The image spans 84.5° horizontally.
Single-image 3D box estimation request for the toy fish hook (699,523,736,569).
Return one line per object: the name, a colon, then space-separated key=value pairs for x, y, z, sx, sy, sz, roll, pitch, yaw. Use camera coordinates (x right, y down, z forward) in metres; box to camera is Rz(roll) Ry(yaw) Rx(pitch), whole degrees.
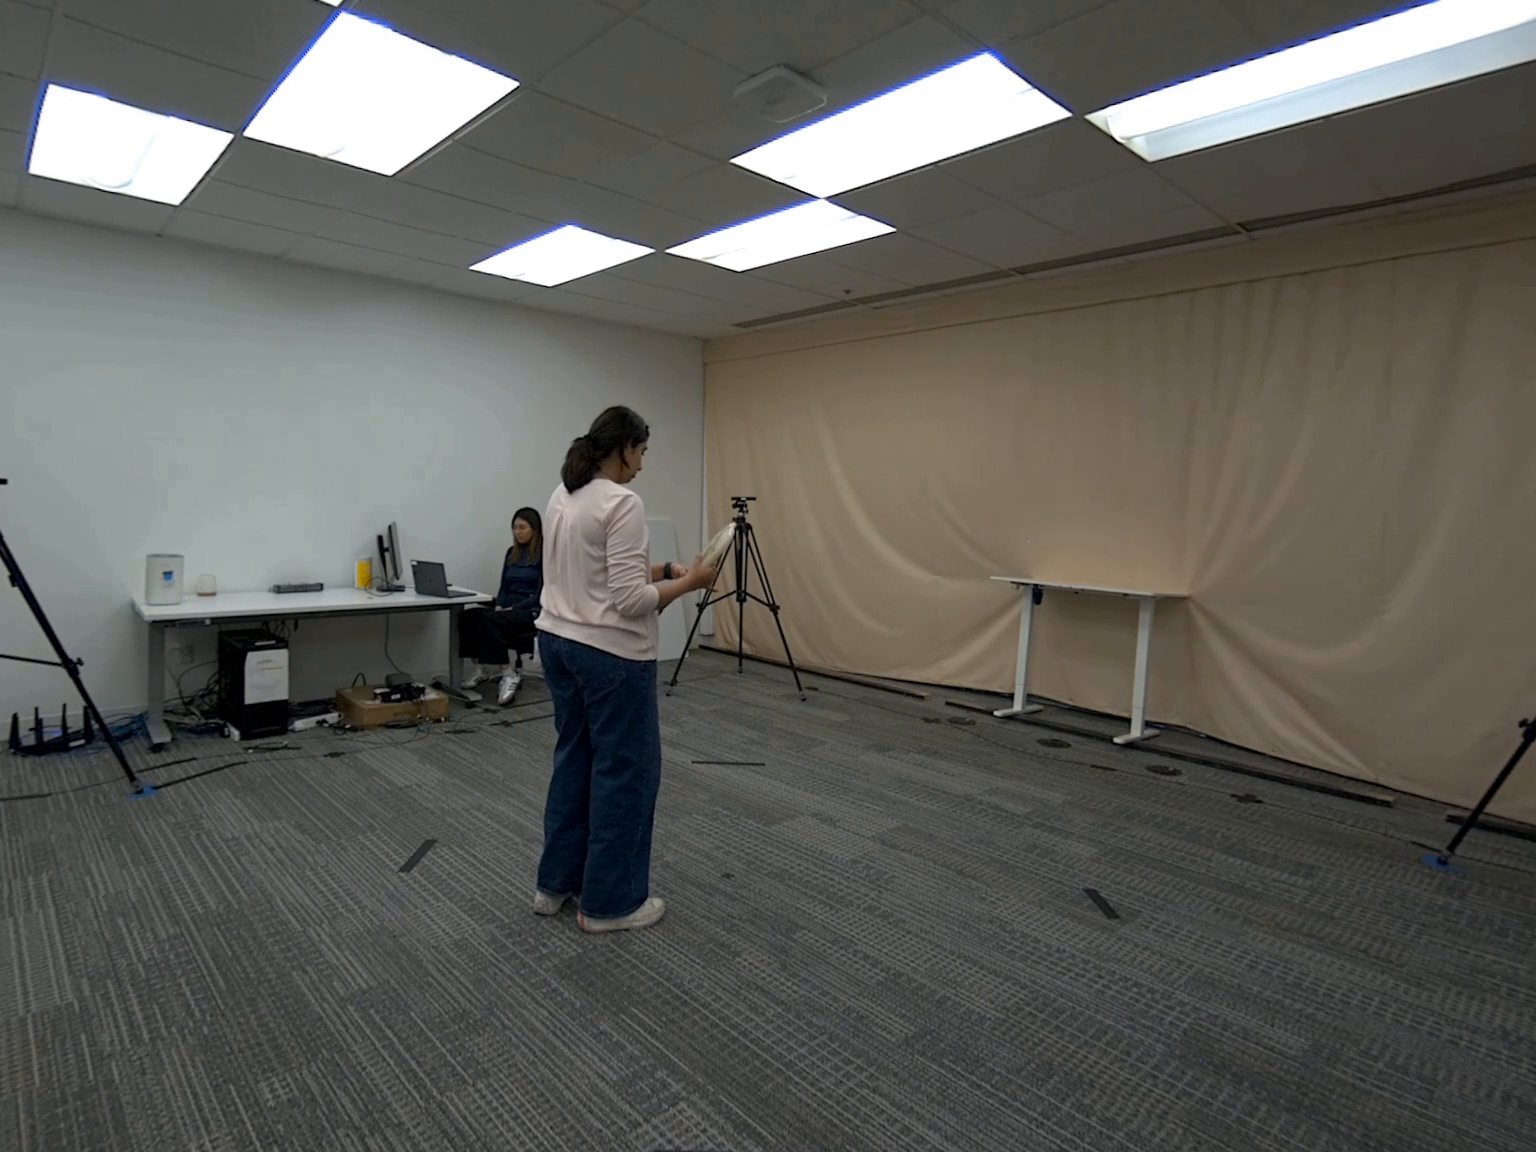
toy fish hook: x=-0.289 y=0.004 z=2.901 sx=0.048 sy=0.507 sz=0.226 roll=42 pitch=24 yaw=-10
